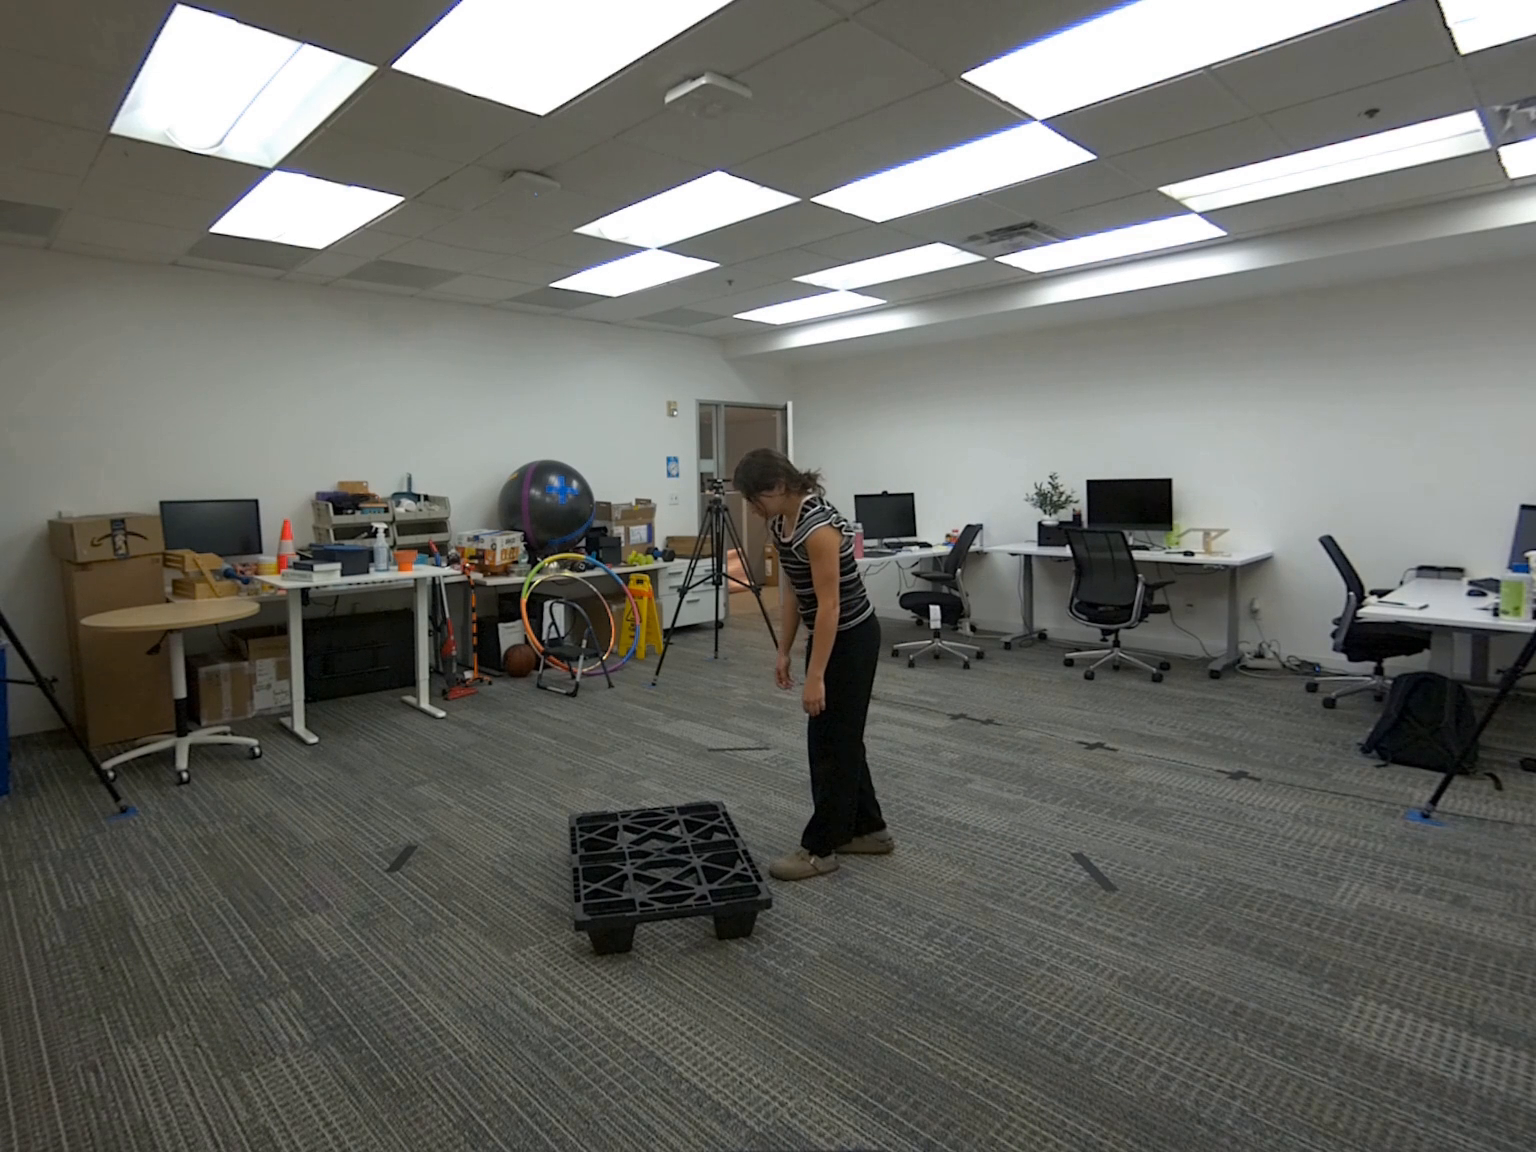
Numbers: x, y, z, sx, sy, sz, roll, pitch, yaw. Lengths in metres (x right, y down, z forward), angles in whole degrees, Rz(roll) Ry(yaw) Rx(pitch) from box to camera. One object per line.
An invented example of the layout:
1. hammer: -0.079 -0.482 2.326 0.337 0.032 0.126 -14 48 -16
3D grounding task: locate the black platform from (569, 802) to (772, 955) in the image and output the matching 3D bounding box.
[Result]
1. black platform: -0.368 1.005 2.916 0.598 0.142 0.819 -3 7 -13
